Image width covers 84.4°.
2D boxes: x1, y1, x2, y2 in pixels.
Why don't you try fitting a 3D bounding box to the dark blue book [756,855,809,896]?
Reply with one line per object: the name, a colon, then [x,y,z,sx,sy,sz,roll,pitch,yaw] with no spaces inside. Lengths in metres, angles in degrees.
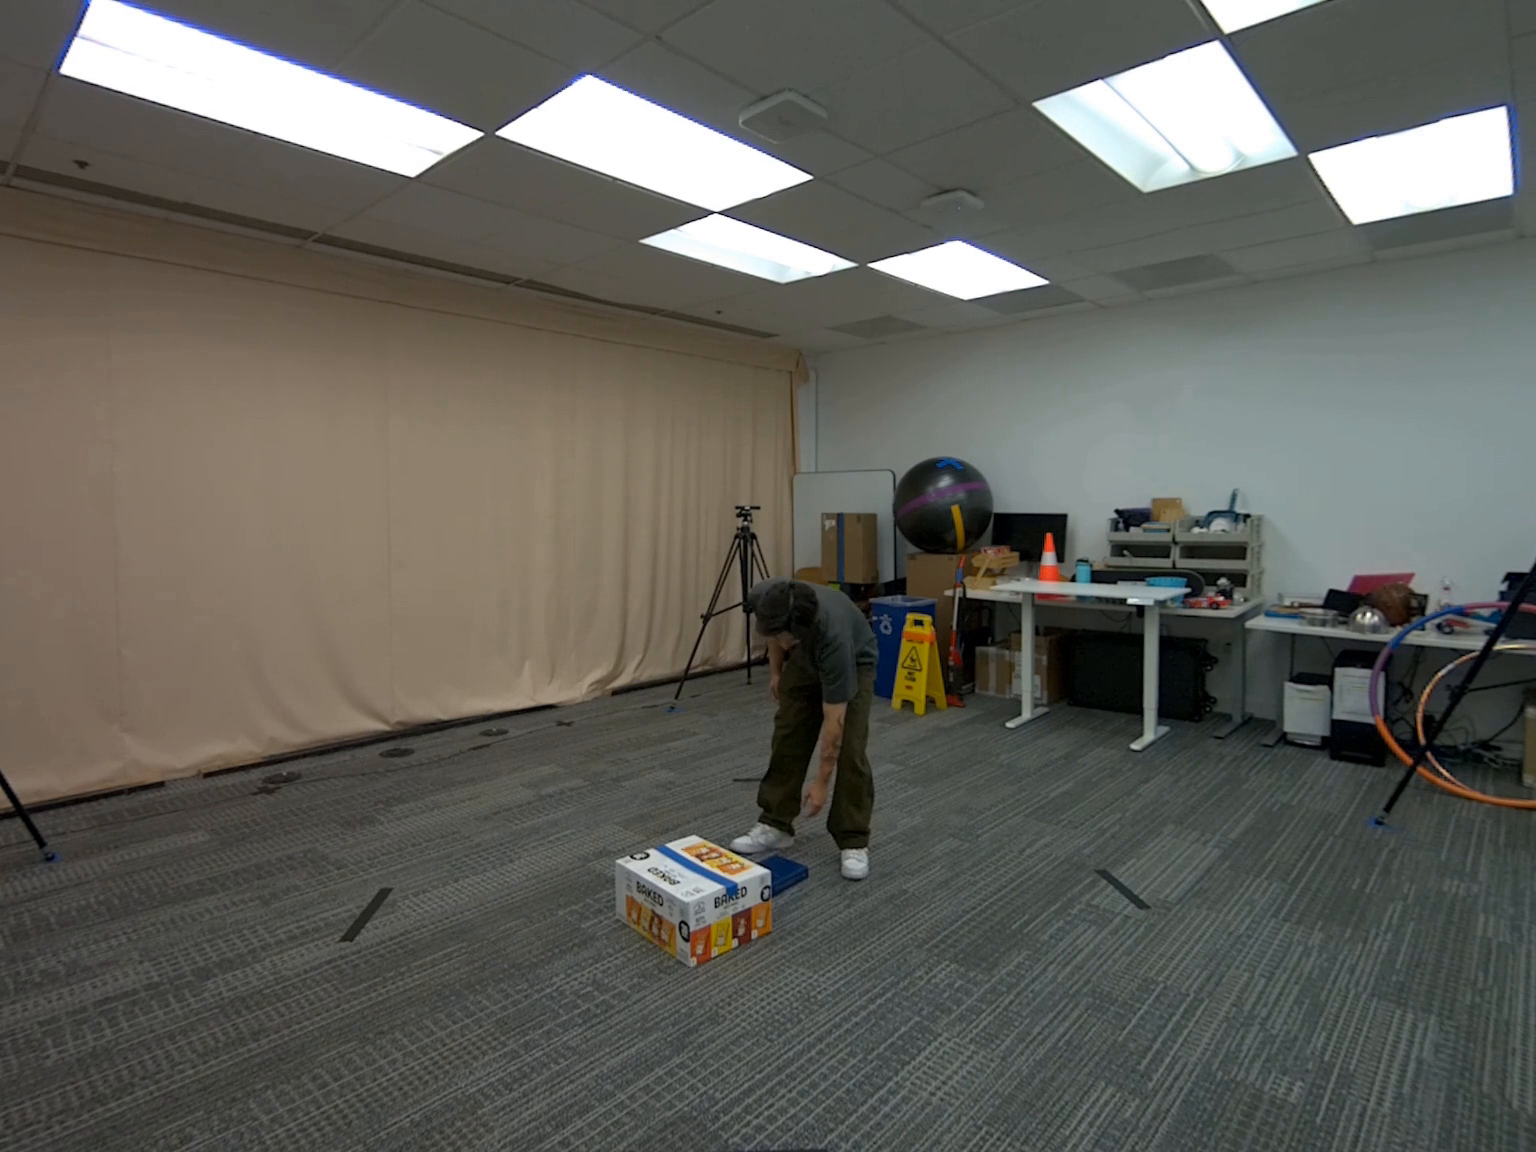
dark blue book: [0.019,1.108,3.108,0.169,0.045,0.238,4,7,42]
